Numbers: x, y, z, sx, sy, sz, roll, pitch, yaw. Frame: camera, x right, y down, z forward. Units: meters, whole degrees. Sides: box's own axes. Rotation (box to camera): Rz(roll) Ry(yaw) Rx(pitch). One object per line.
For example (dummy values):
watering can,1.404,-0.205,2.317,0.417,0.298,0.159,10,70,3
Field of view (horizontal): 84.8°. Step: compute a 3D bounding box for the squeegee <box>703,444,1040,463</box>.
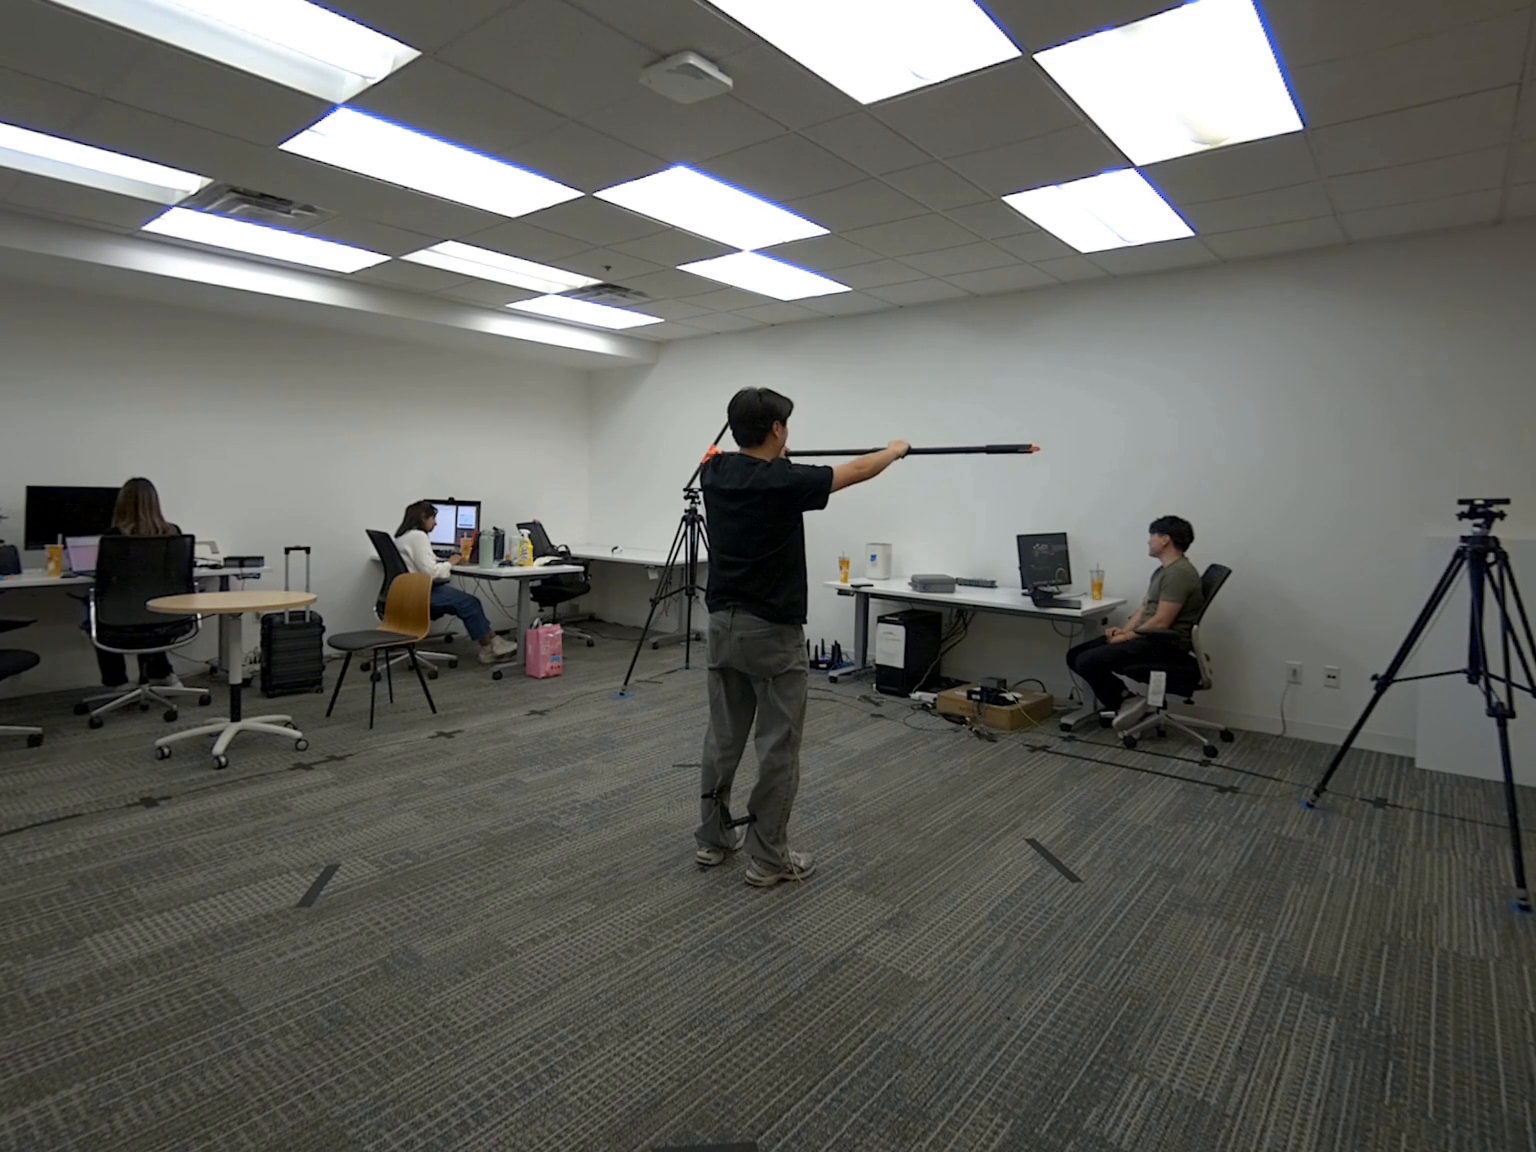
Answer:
squeegee,0.320,-0.489,3.443,1.590,0.440,0.051,6,-37,39
